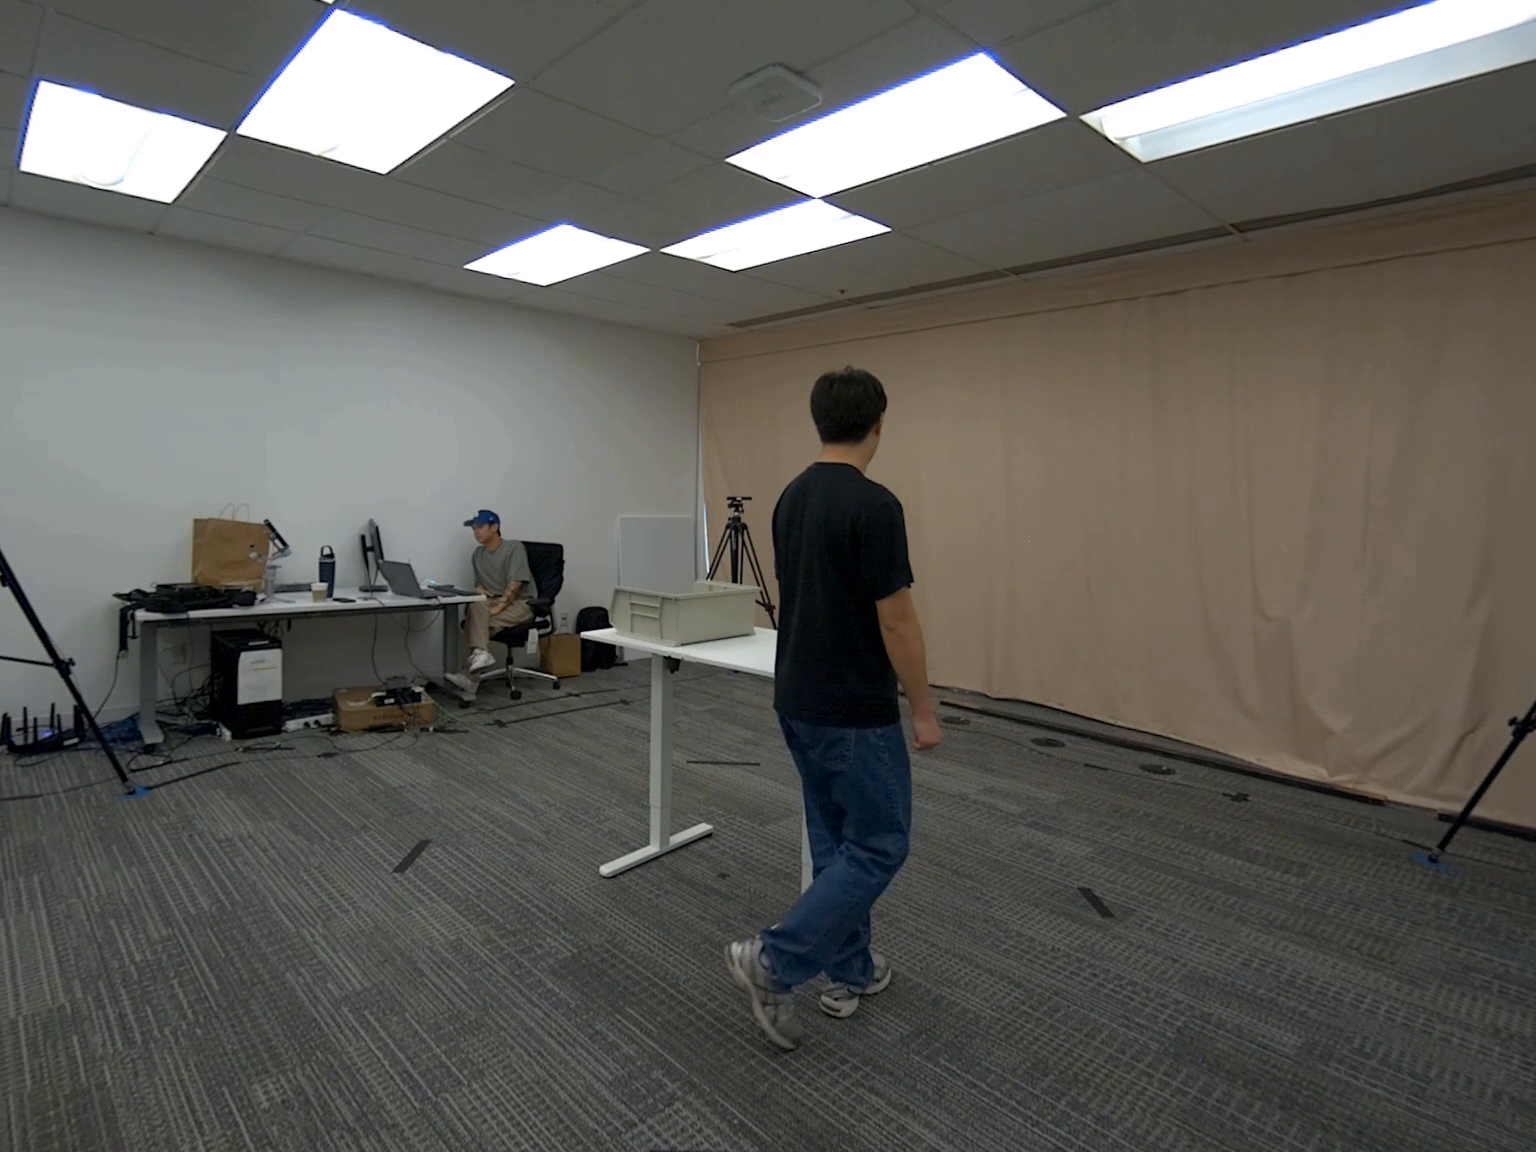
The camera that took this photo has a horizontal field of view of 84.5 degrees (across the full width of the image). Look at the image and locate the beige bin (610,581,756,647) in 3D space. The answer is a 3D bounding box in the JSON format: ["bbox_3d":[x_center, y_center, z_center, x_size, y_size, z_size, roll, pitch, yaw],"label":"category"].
[{"bbox_3d":[-0.313,0.131,3.110,0.387,0.188,0.413,8,8,44],"label":"beige bin"}]
